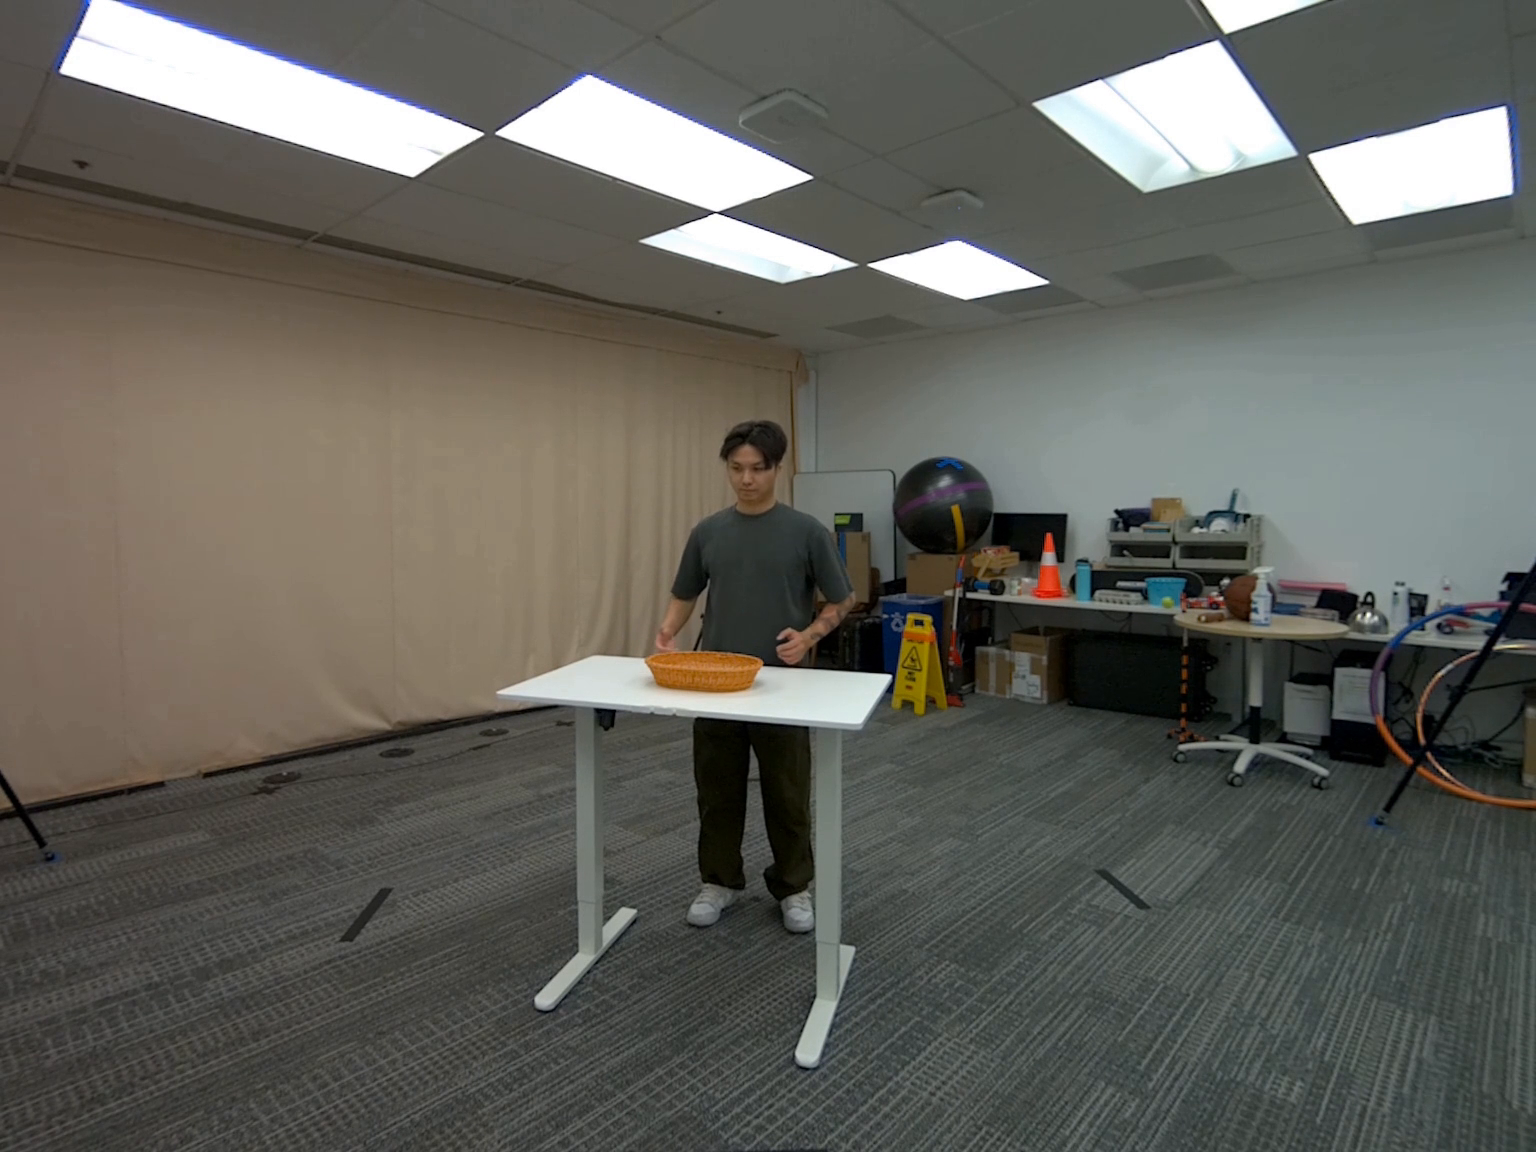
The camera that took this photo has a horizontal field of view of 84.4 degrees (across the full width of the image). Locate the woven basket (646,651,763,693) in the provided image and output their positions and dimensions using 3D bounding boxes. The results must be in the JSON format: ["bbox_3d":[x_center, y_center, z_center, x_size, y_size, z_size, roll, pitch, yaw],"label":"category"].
[{"bbox_3d":[-0.191,0.279,2.420,0.359,0.073,0.247,2,5,23],"label":"woven basket"}]
